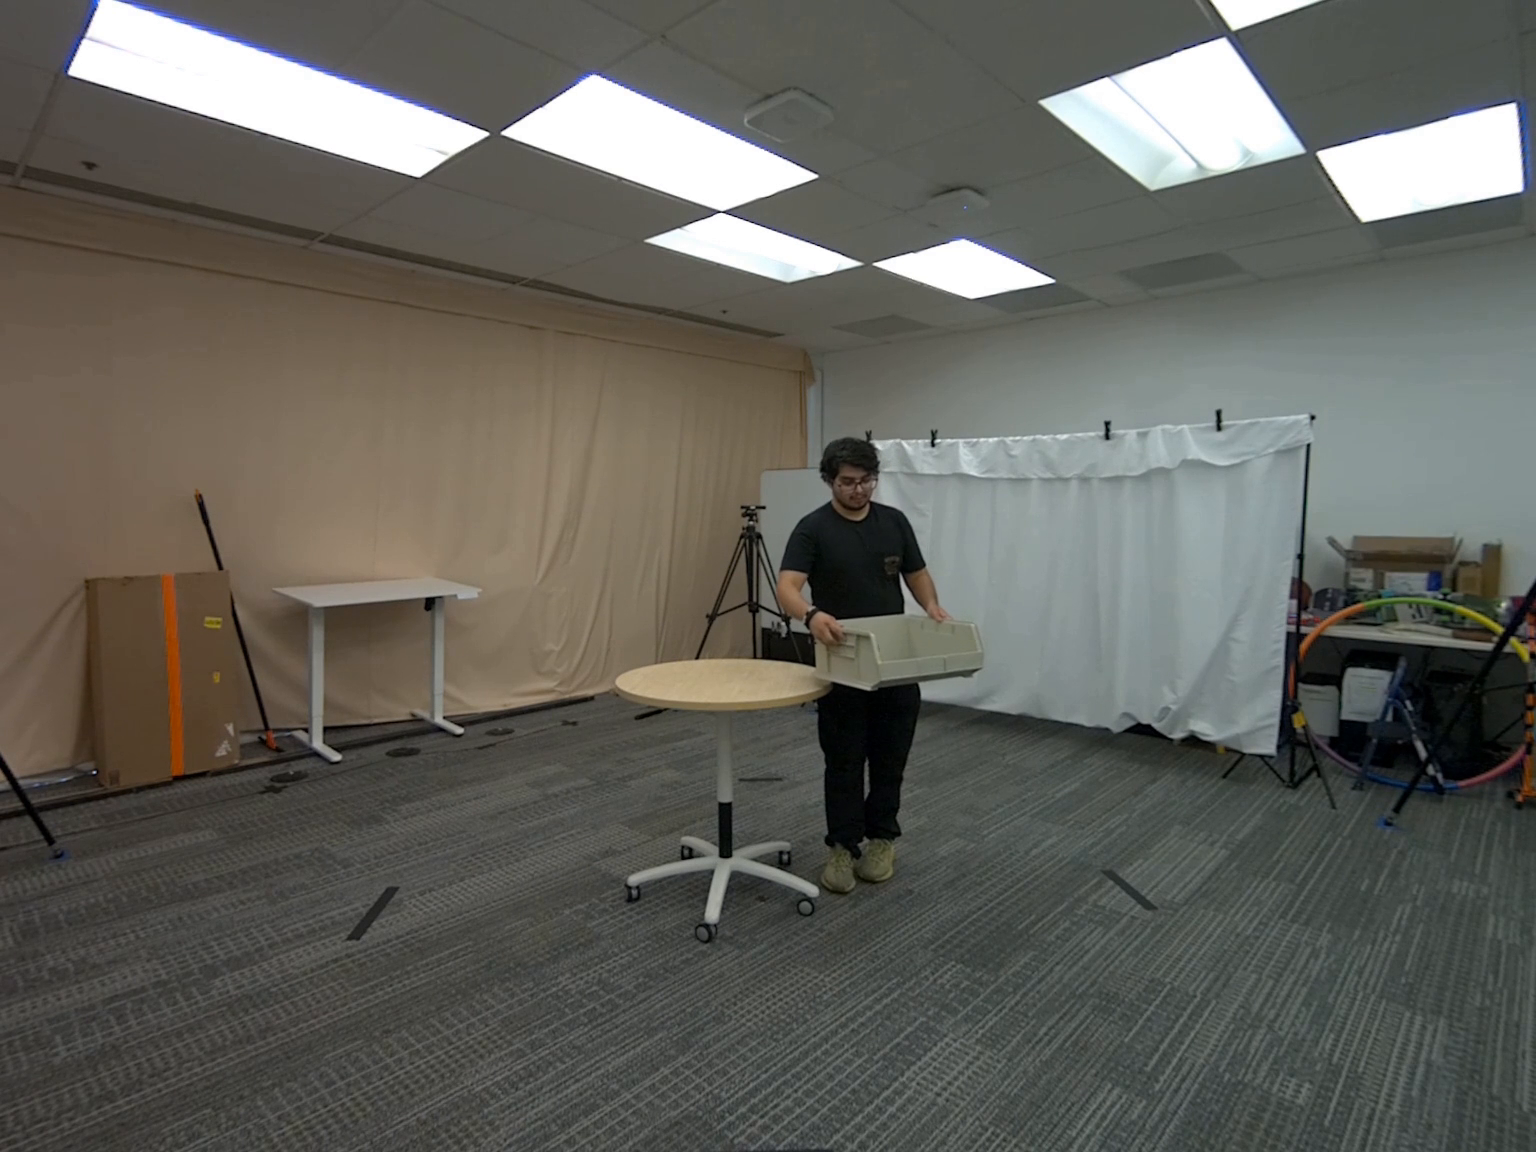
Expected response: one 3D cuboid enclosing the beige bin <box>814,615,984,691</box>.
[{"bbox_3d":[0.411,0.241,2.746,0.412,0.189,0.387,-5,3,-28],"label":"beige bin"}]
